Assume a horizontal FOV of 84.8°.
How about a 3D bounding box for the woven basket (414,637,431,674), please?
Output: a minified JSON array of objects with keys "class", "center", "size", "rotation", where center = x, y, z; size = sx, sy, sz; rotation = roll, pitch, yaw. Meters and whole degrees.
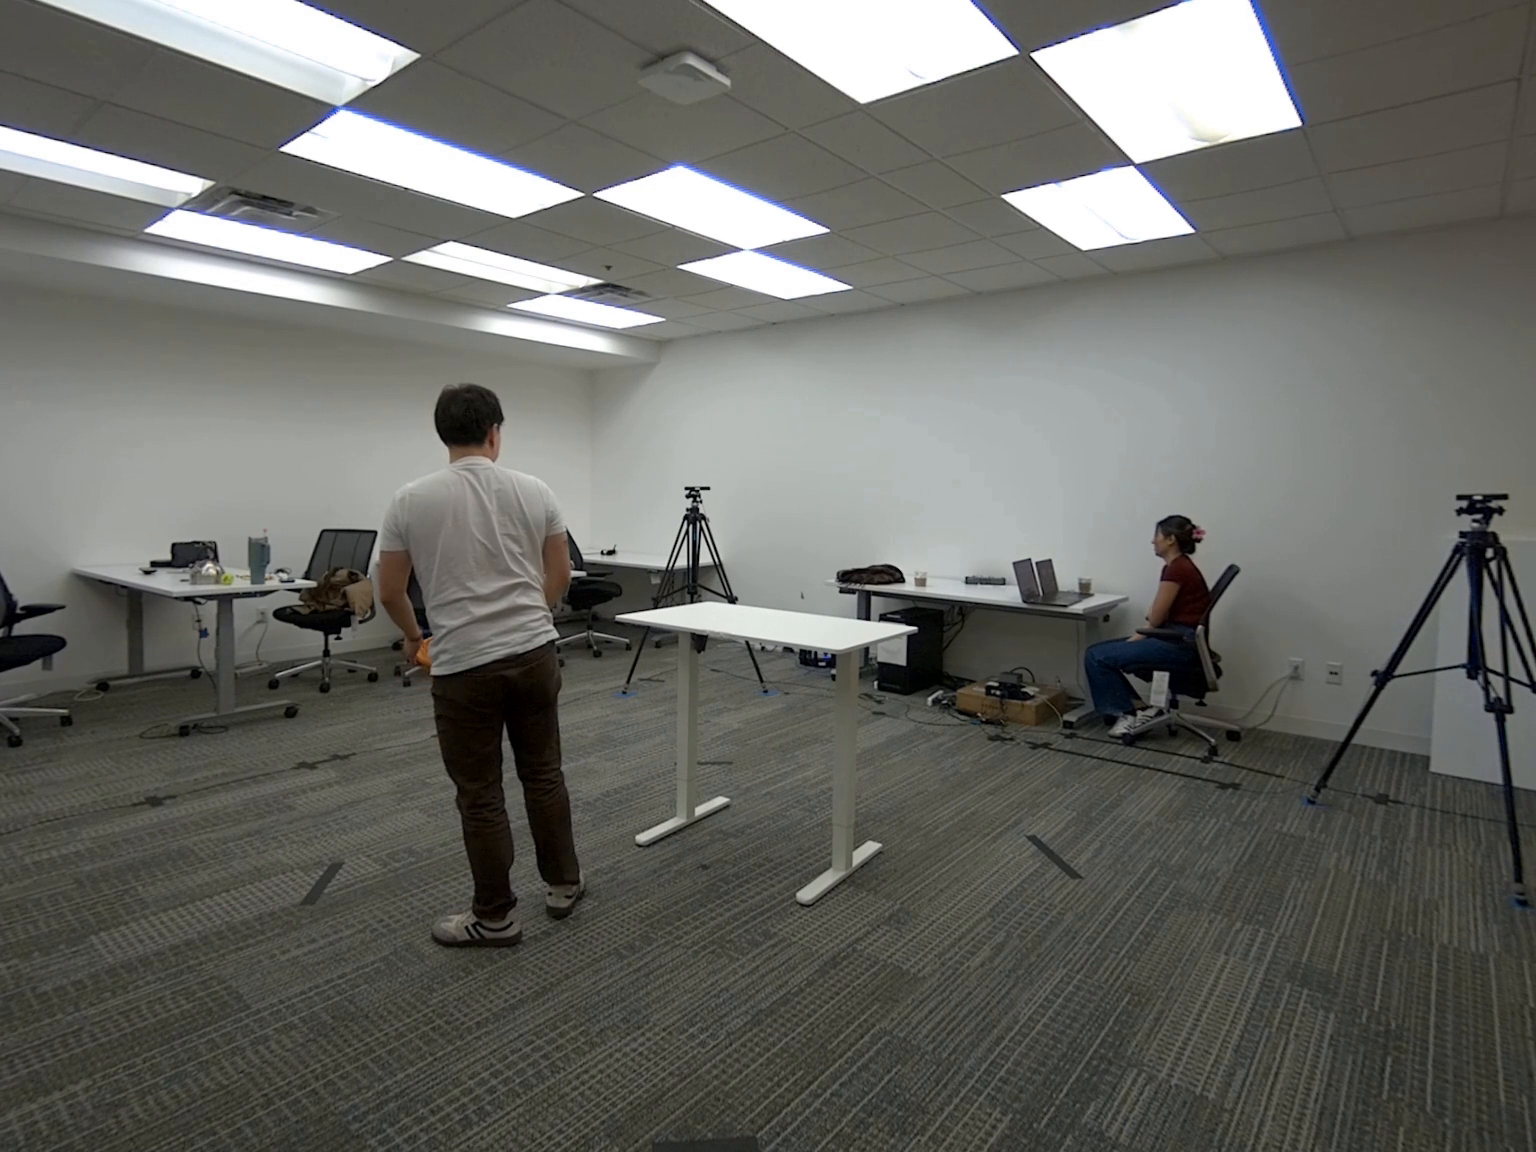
[{"class":"woven basket","center":[-1.032,0.260,2.817],"size":[0.345,0.072,0.261],"rotation":[-12,23,-19]}]
